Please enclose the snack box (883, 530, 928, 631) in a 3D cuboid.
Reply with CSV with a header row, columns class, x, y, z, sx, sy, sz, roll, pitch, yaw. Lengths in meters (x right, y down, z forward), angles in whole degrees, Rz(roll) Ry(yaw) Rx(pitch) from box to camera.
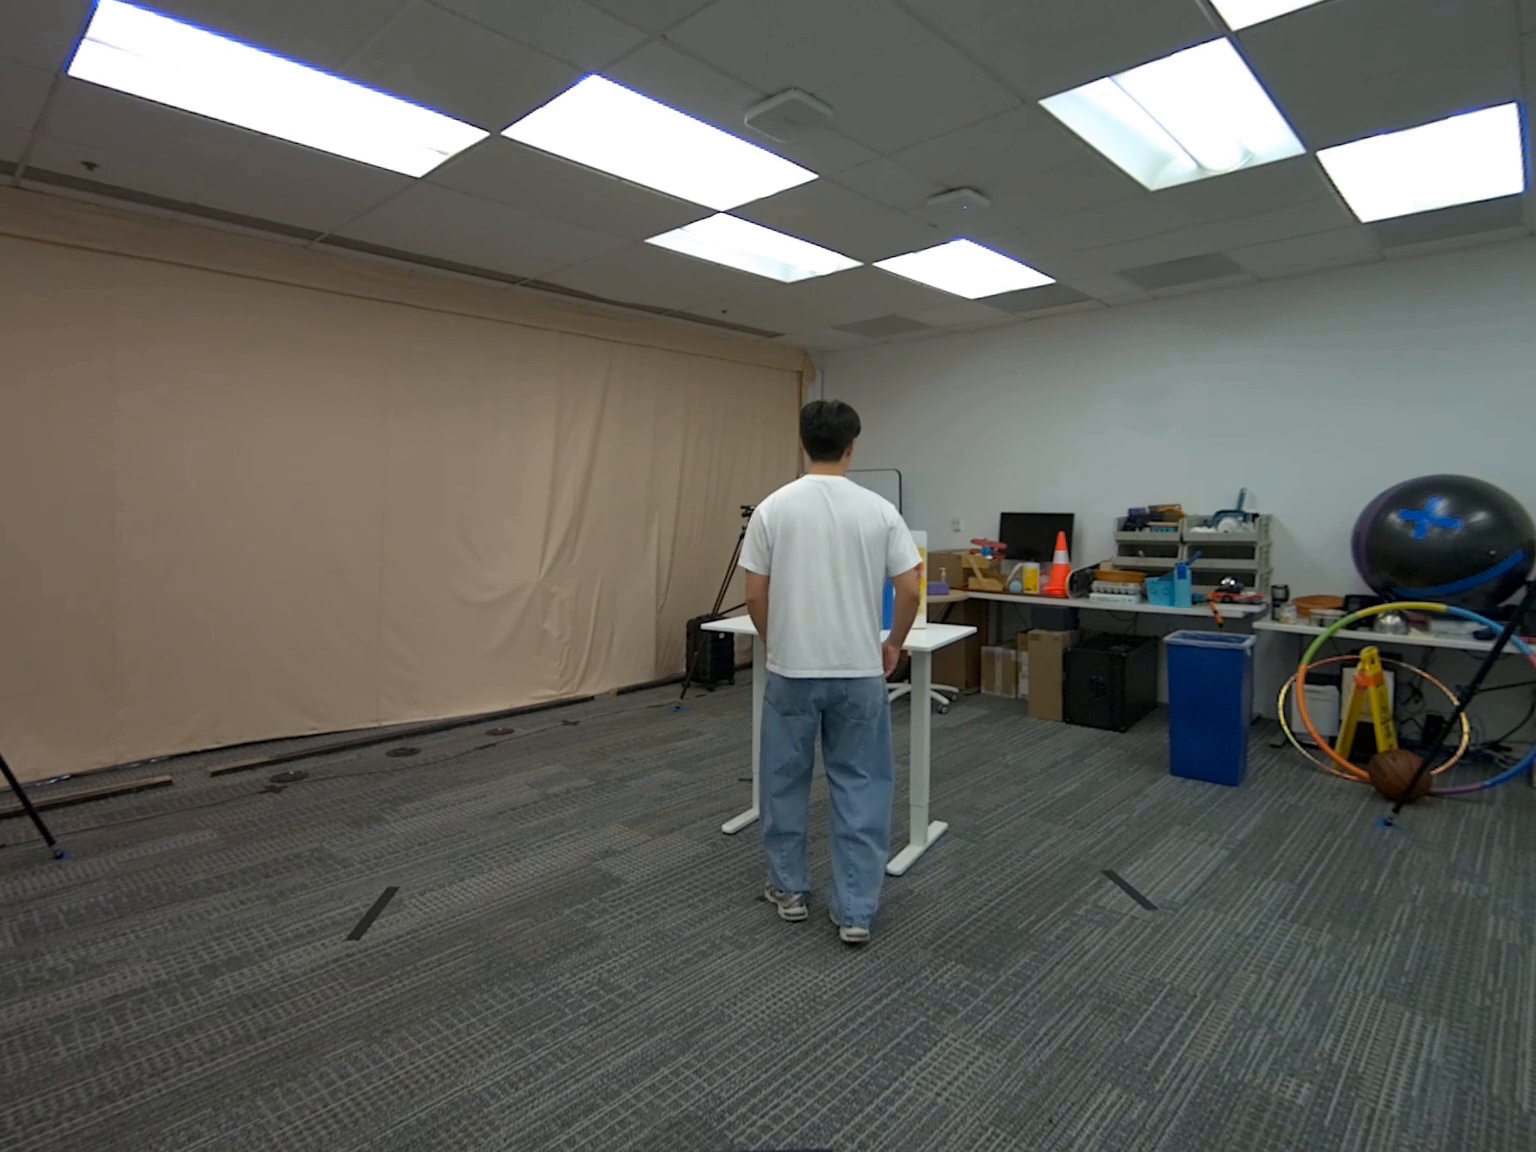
class,x,y,z,sx,sy,sz,roll,pitch,yaw
snack box,0.476,0.007,3.550,0.338,0.404,0.207,-2,4,-7
